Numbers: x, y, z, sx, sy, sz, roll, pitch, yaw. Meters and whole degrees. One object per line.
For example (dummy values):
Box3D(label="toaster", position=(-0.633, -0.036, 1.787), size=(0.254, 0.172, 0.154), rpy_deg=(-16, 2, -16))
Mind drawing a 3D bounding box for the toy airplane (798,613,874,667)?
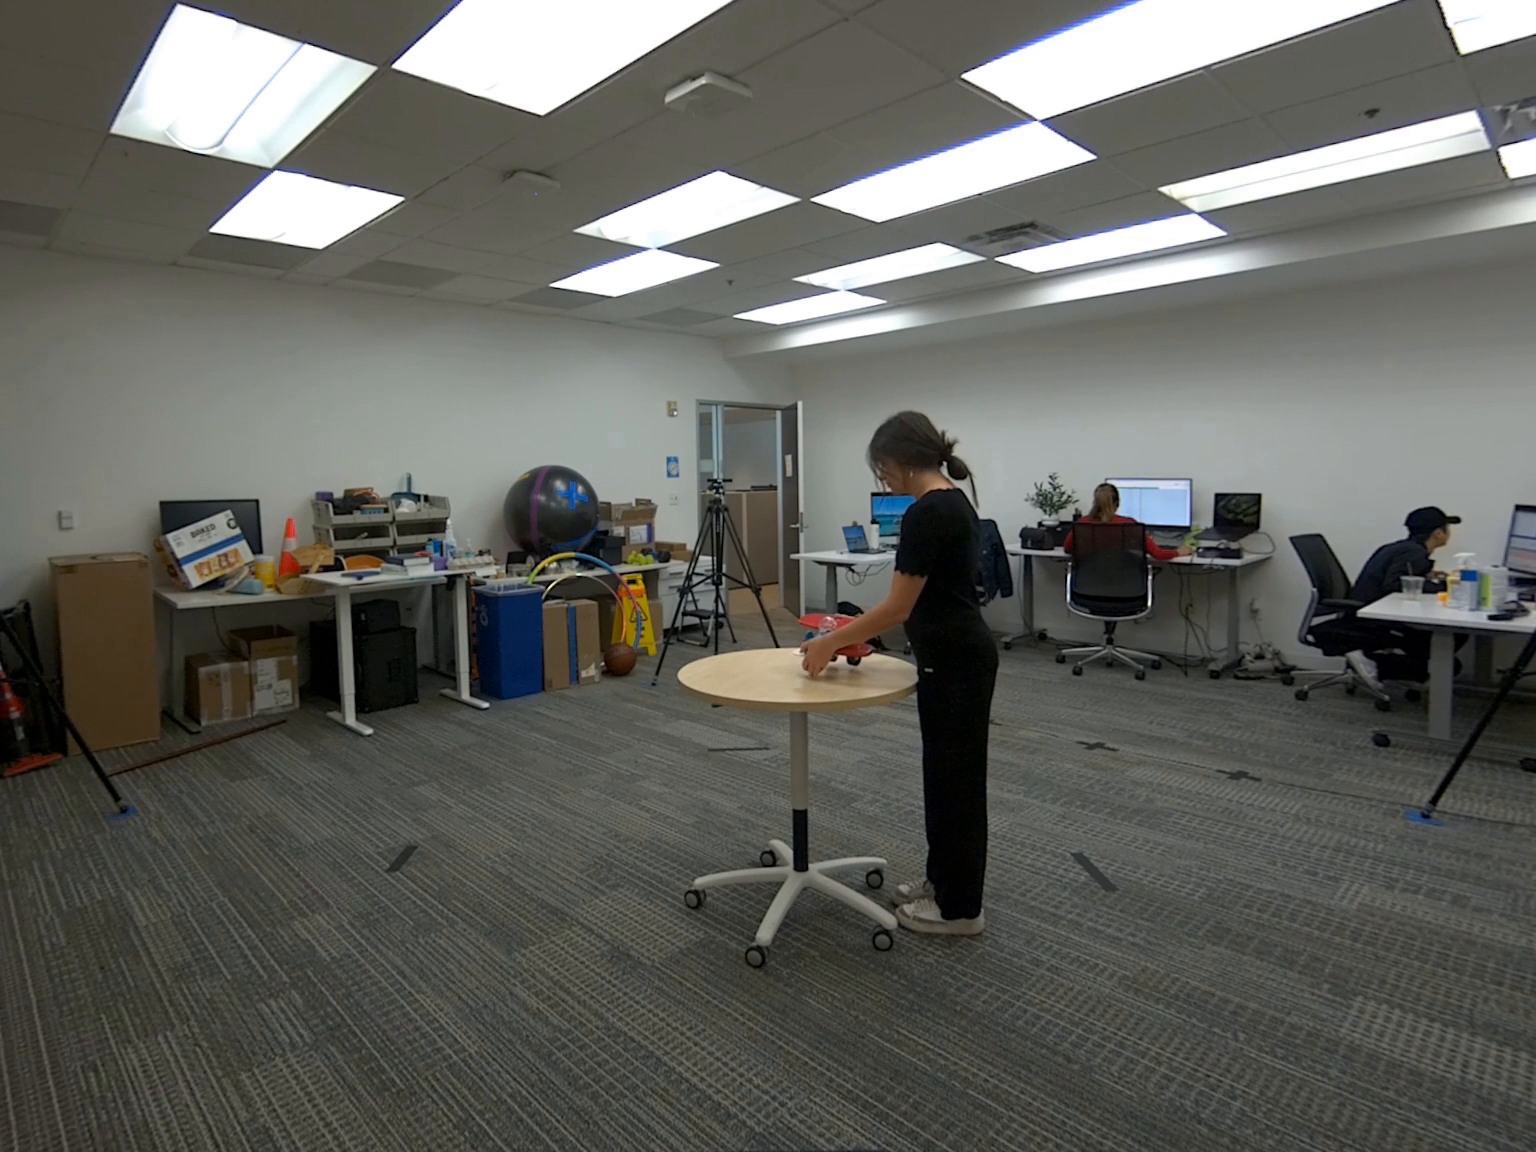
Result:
Box3D(label="toy airplane", position=(0.221, 0.210, 2.680), size=(0.254, 0.156, 0.257), rpy_deg=(2, 5, 10))
